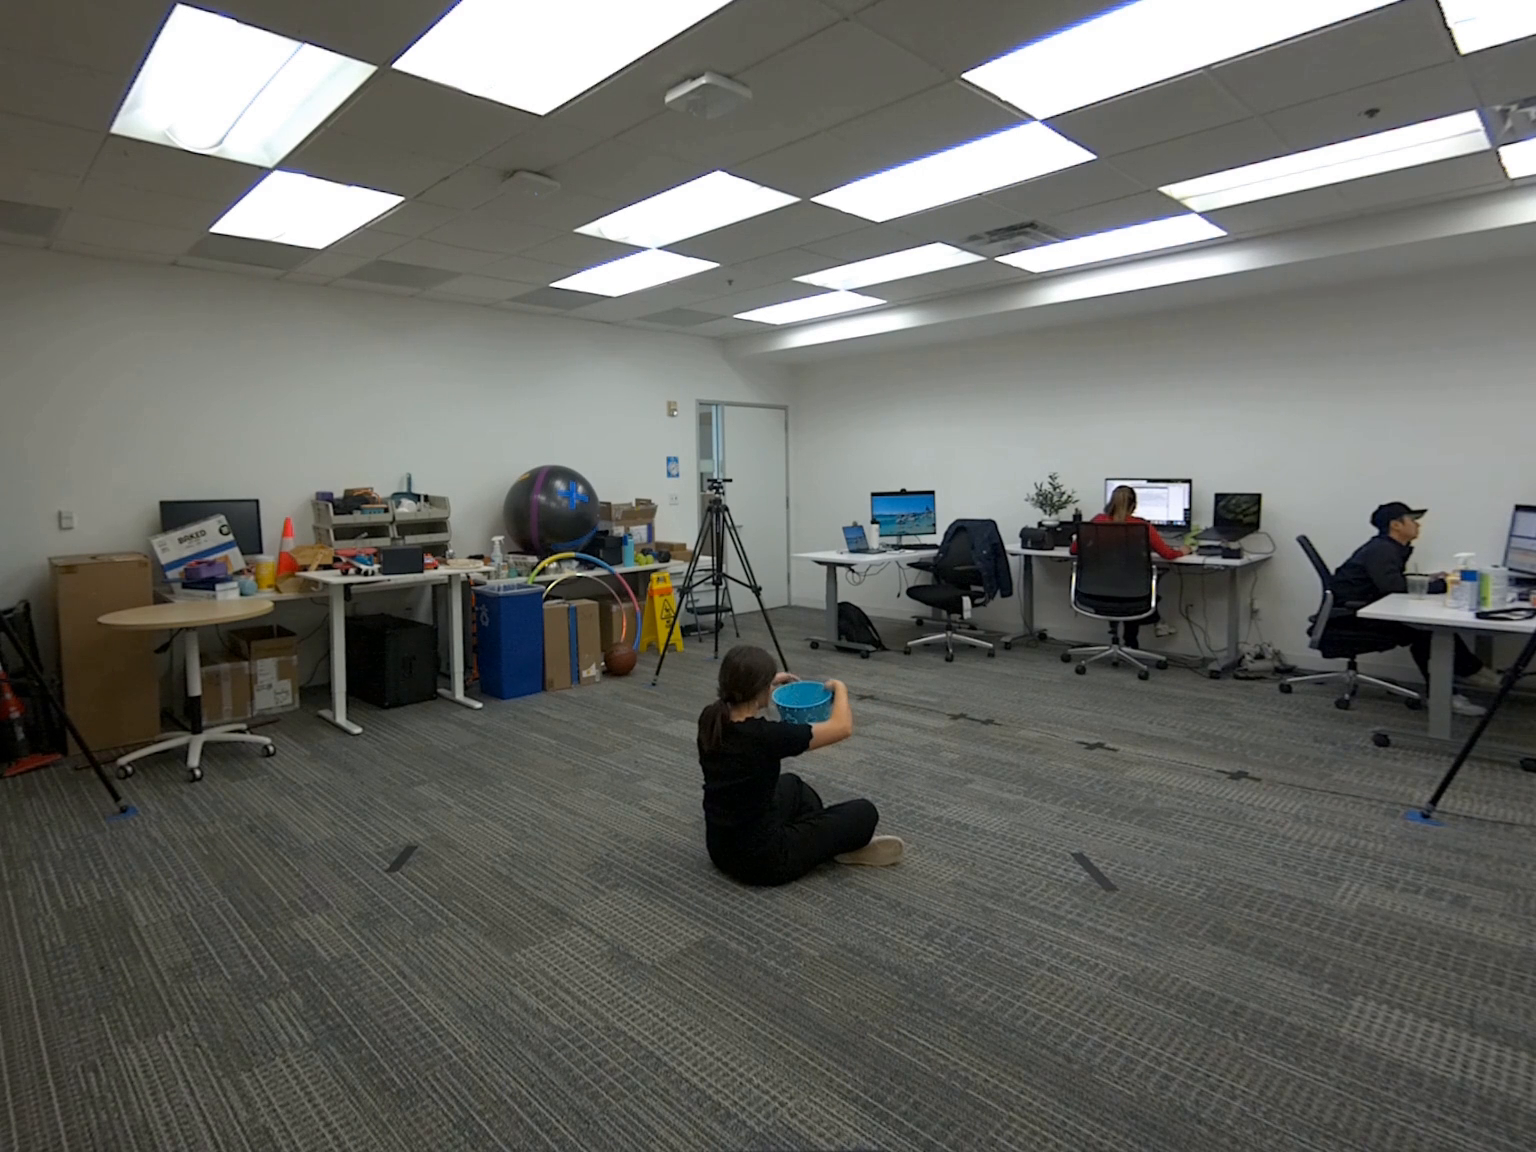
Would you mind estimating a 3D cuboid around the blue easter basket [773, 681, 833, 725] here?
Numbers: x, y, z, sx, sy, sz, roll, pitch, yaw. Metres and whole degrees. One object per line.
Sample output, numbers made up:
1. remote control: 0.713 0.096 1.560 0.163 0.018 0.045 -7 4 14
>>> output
1. blue easter basket: 0.139 0.525 3.244 0.244 0.154 0.247 -7 14 0
